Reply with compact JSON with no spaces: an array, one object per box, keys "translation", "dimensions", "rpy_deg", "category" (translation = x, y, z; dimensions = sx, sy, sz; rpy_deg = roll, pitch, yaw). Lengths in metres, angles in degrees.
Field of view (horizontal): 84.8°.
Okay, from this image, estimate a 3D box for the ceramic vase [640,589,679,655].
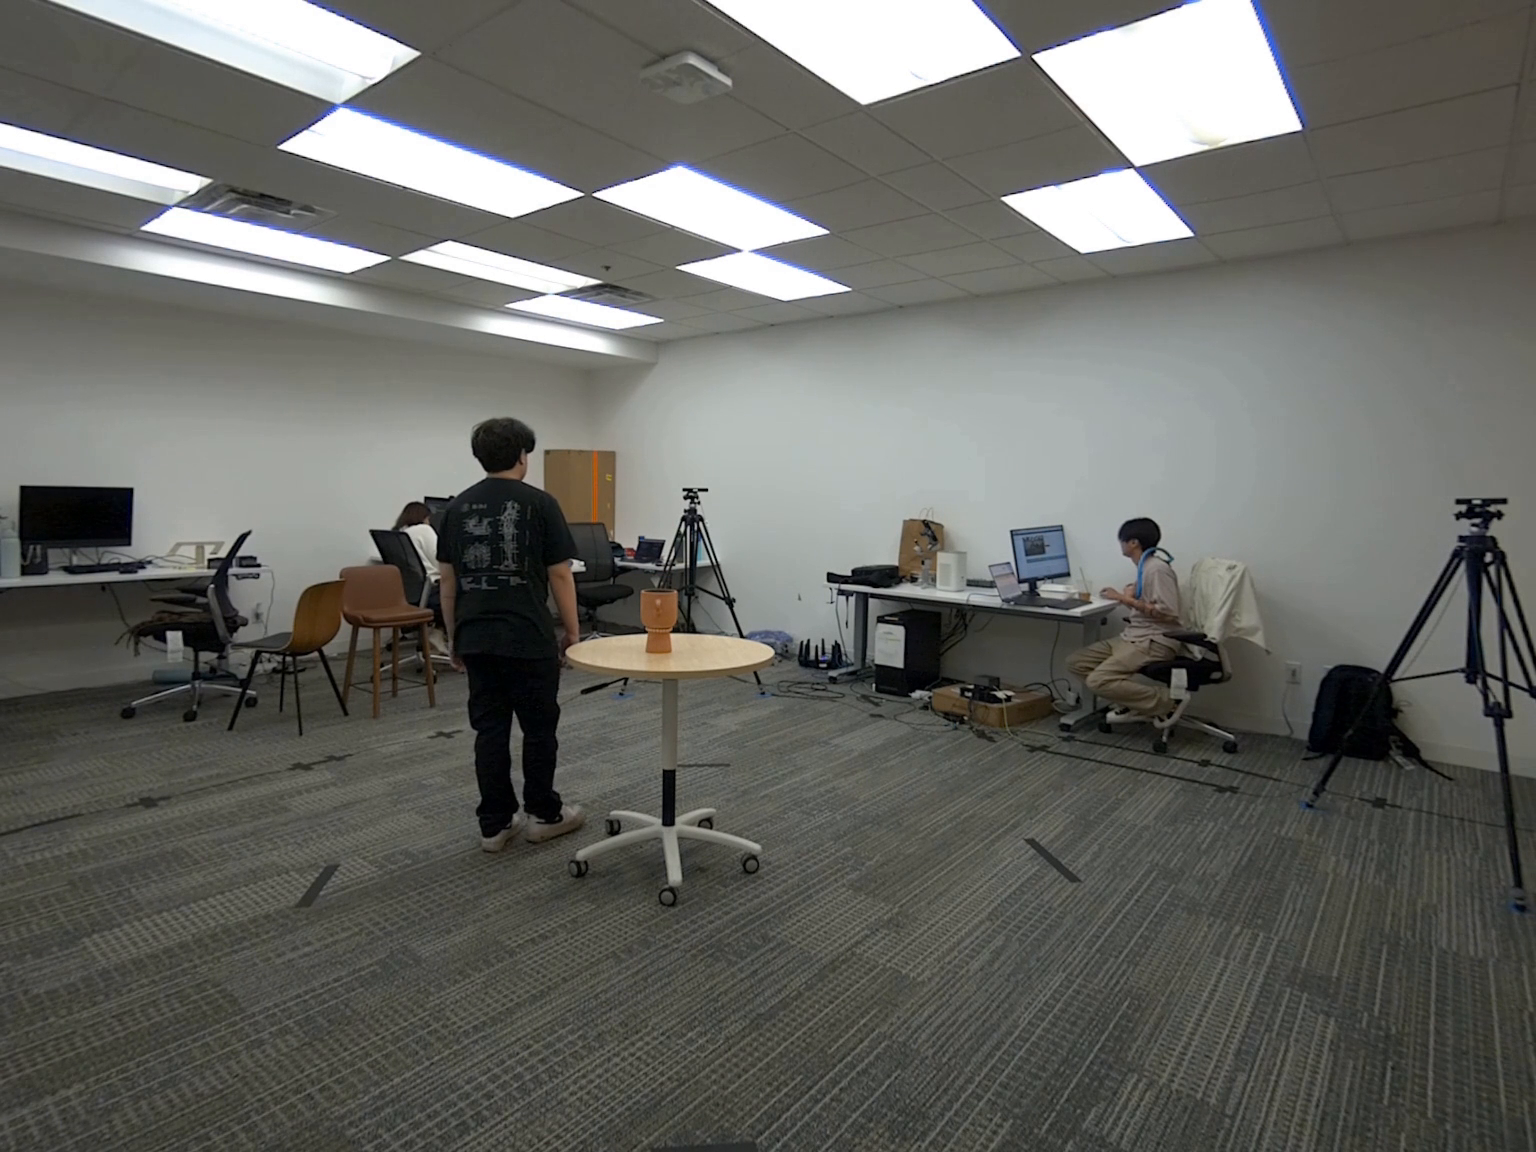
[{"translation":[-0.415,0.163,3.113],"dimensions":[0.139,0.219,0.154],"rpy_deg":[2,3,35],"category":"ceramic vase"}]
